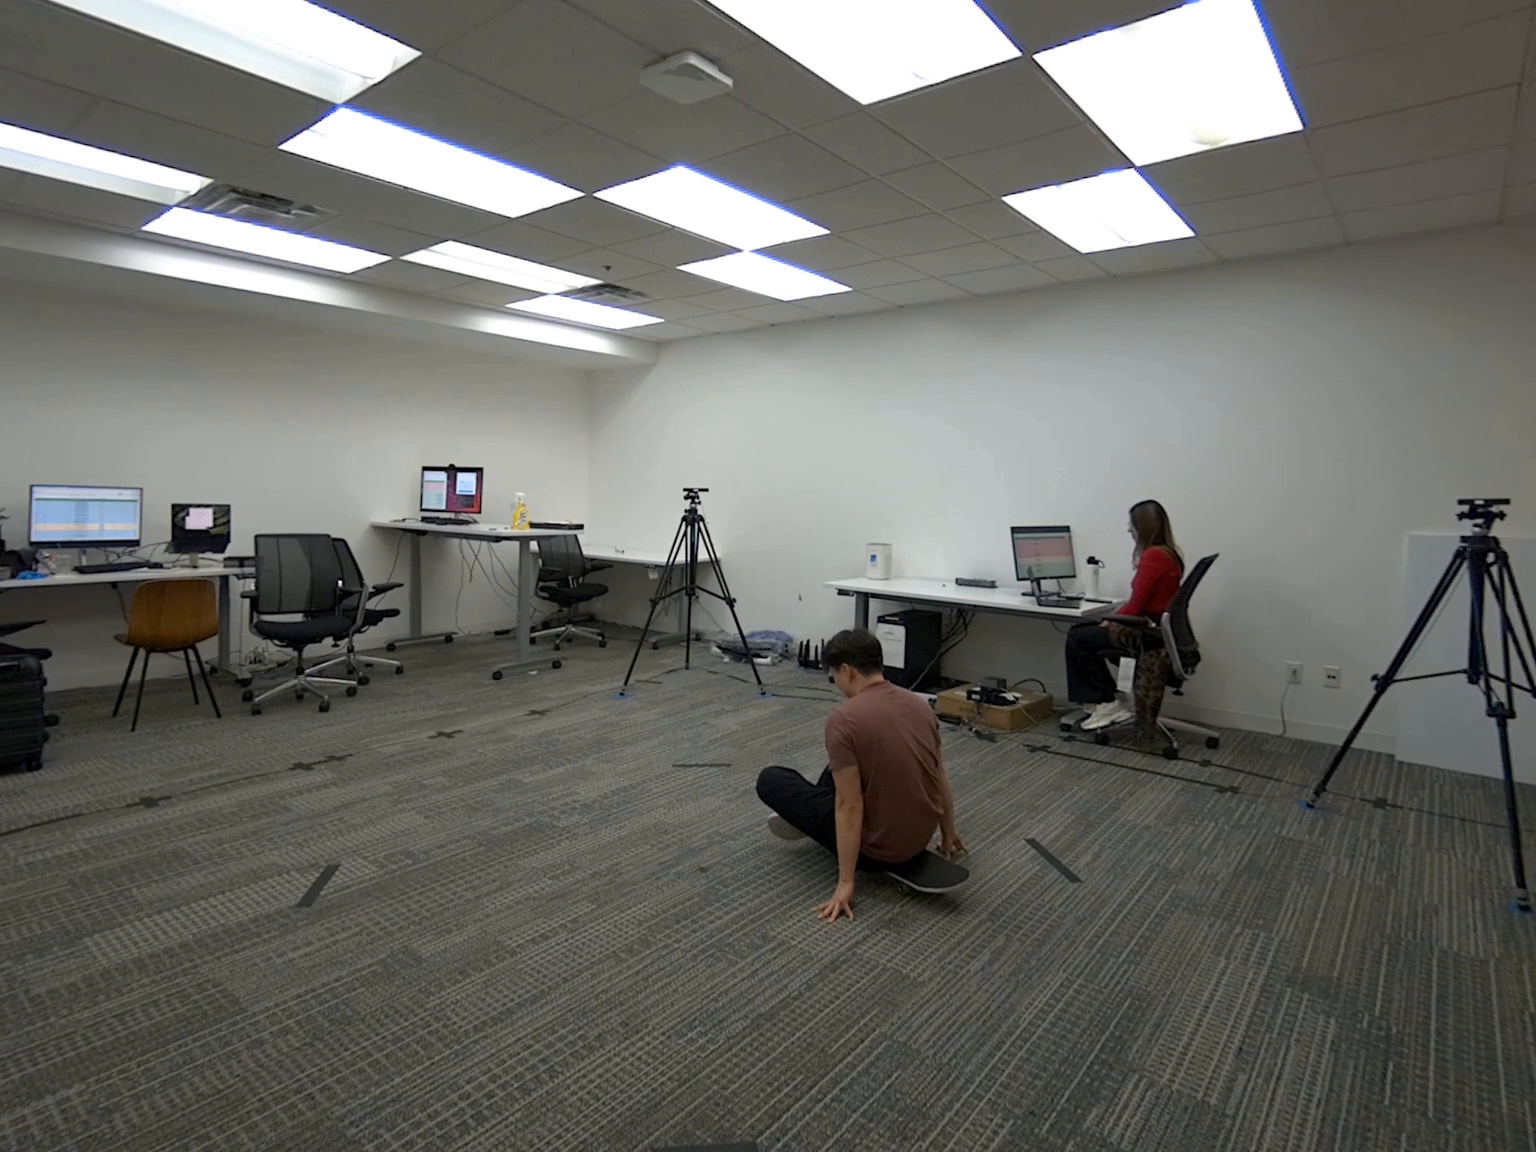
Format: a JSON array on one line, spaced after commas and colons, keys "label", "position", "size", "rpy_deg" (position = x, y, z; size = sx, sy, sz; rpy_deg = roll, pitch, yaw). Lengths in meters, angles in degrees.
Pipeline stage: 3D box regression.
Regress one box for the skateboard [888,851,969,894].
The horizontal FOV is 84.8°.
[{"label": "skateboard", "position": [0.392, 1.035, 3.138], "size": [0.189, 0.109, 0.812], "rpy_deg": [-16, 15, -37]}]
